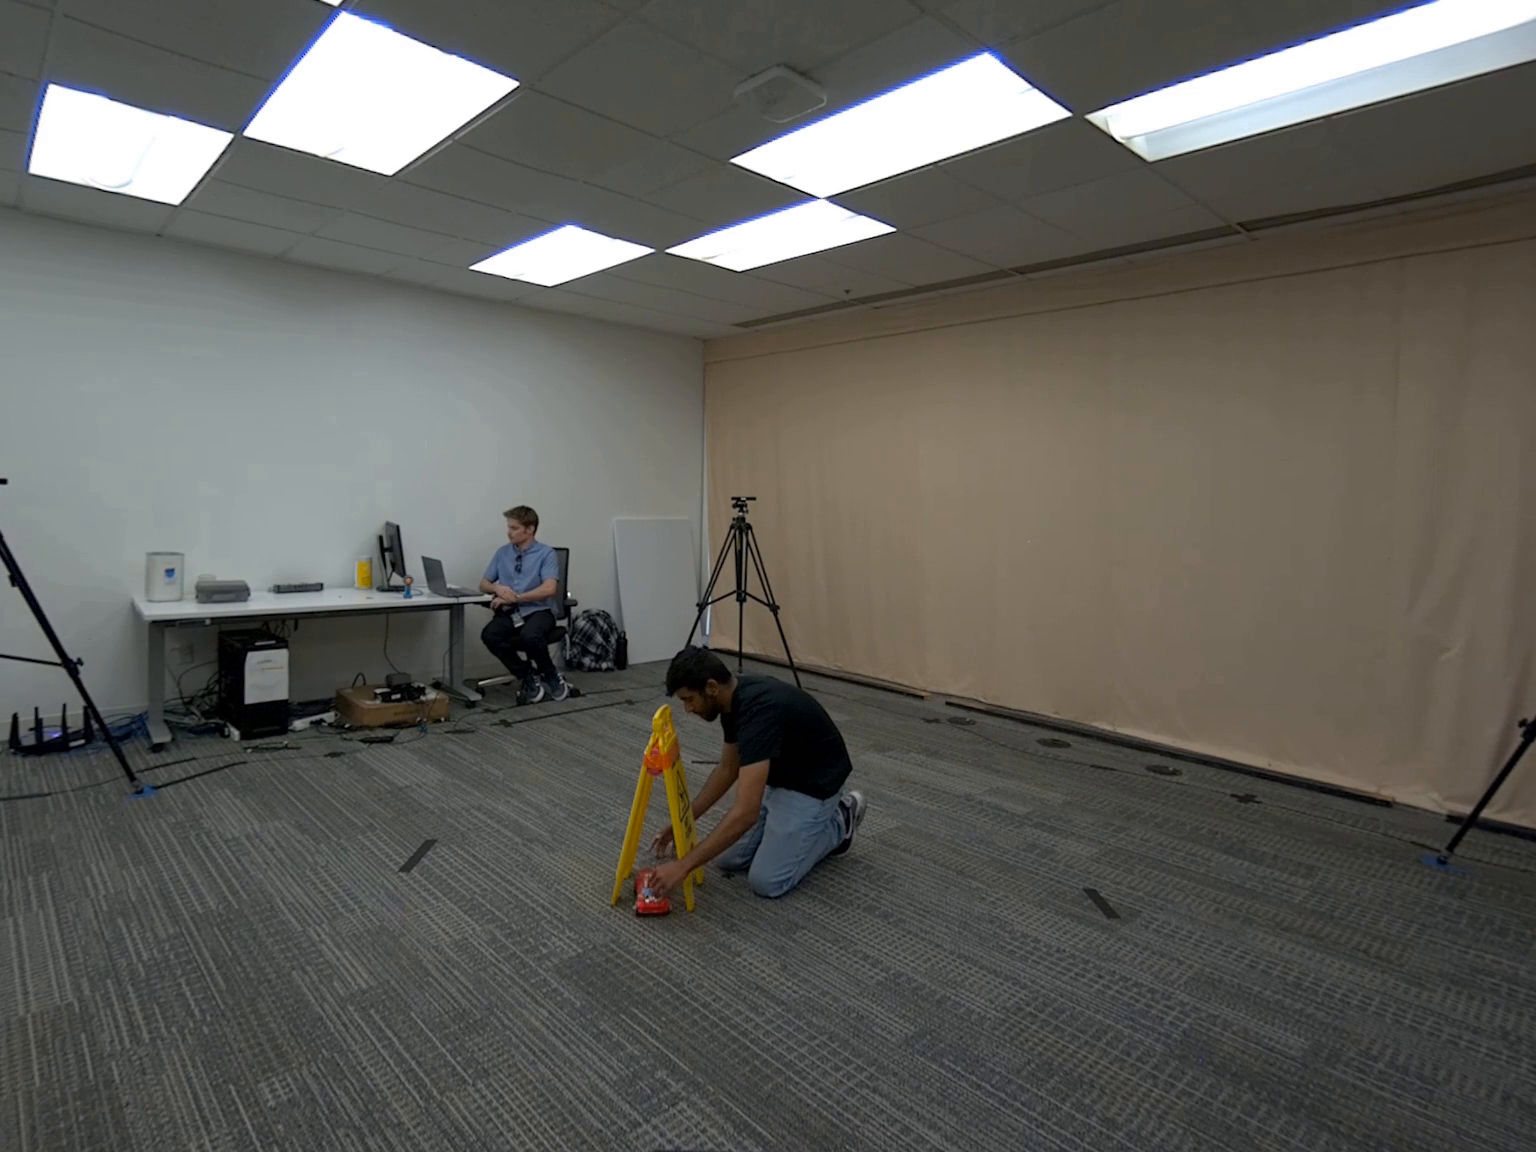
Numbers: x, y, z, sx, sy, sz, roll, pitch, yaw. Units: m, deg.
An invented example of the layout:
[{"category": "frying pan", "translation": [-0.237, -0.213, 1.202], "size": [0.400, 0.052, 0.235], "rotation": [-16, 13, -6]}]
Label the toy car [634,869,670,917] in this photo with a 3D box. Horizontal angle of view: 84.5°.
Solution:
[{"category": "toy car", "translation": [-0.406, 1.087, 2.888], "size": [0.129, 0.082, 0.258], "rotation": [1, 14, -9]}]
